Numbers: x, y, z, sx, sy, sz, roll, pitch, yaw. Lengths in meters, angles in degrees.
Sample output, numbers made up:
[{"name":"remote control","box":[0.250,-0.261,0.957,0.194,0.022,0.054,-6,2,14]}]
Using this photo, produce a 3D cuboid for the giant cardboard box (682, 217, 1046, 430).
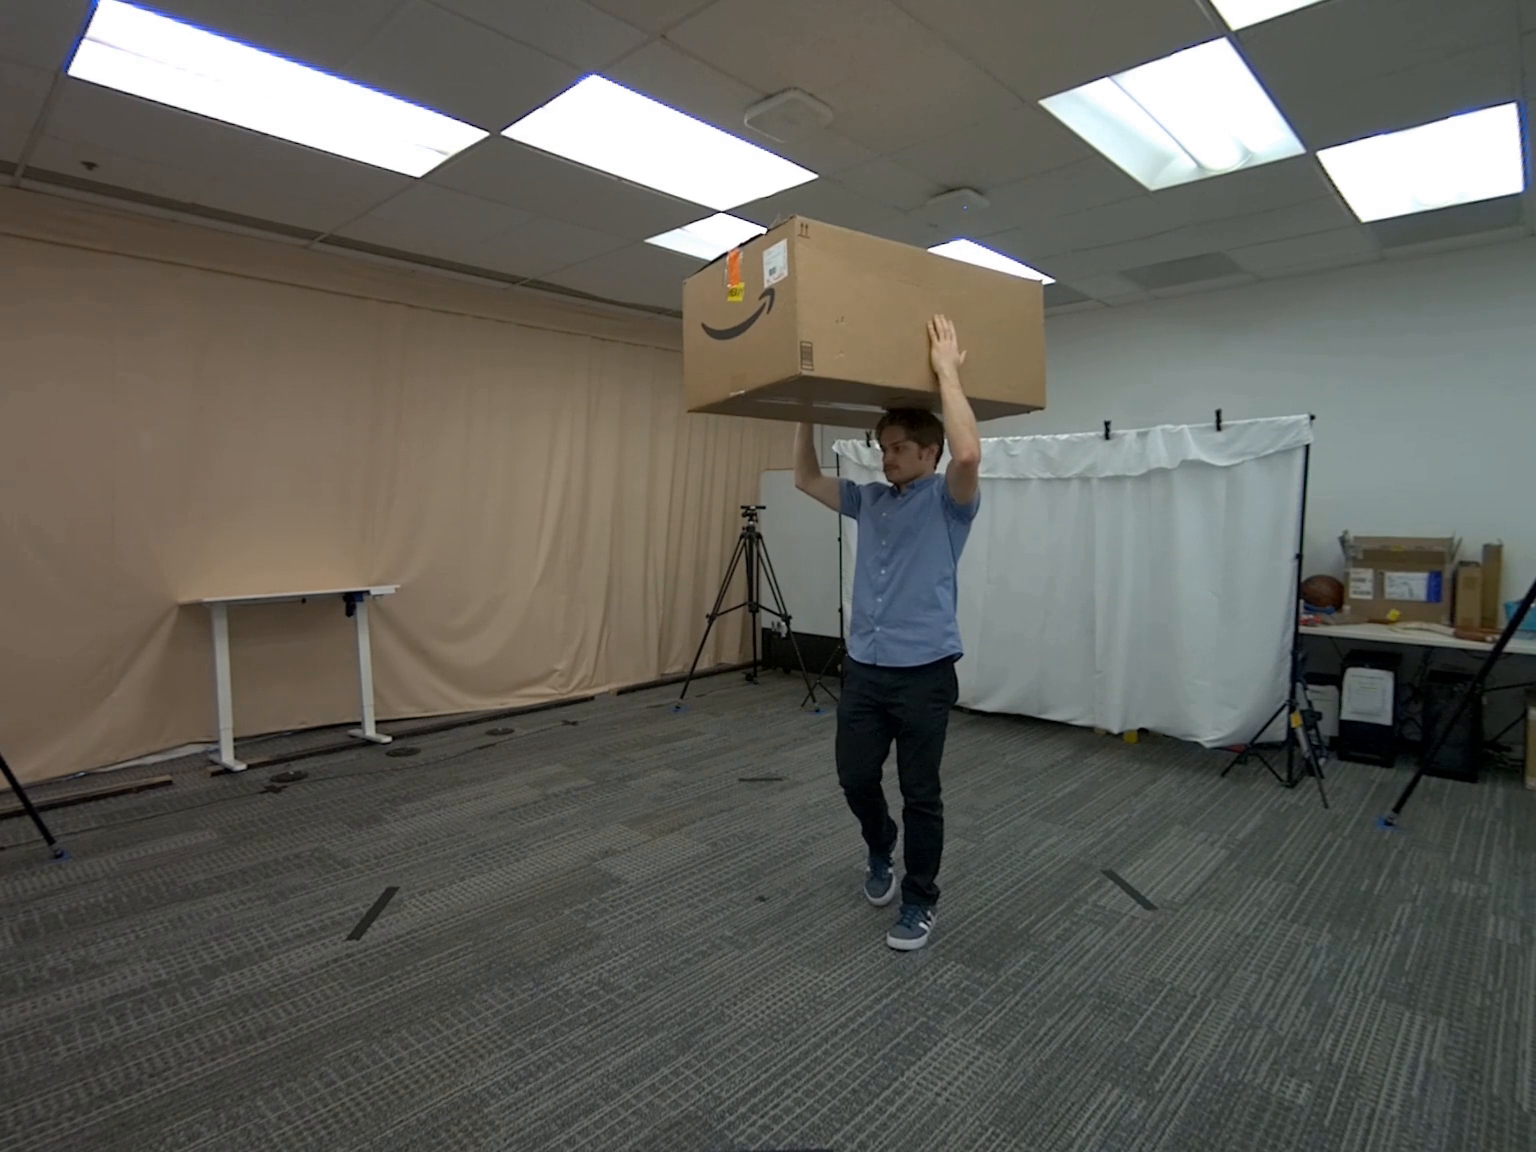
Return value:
[{"name":"giant cardboard box","box":[0.321,-0.739,2.688,0.996,0.426,0.594,-1,0,-35]}]
